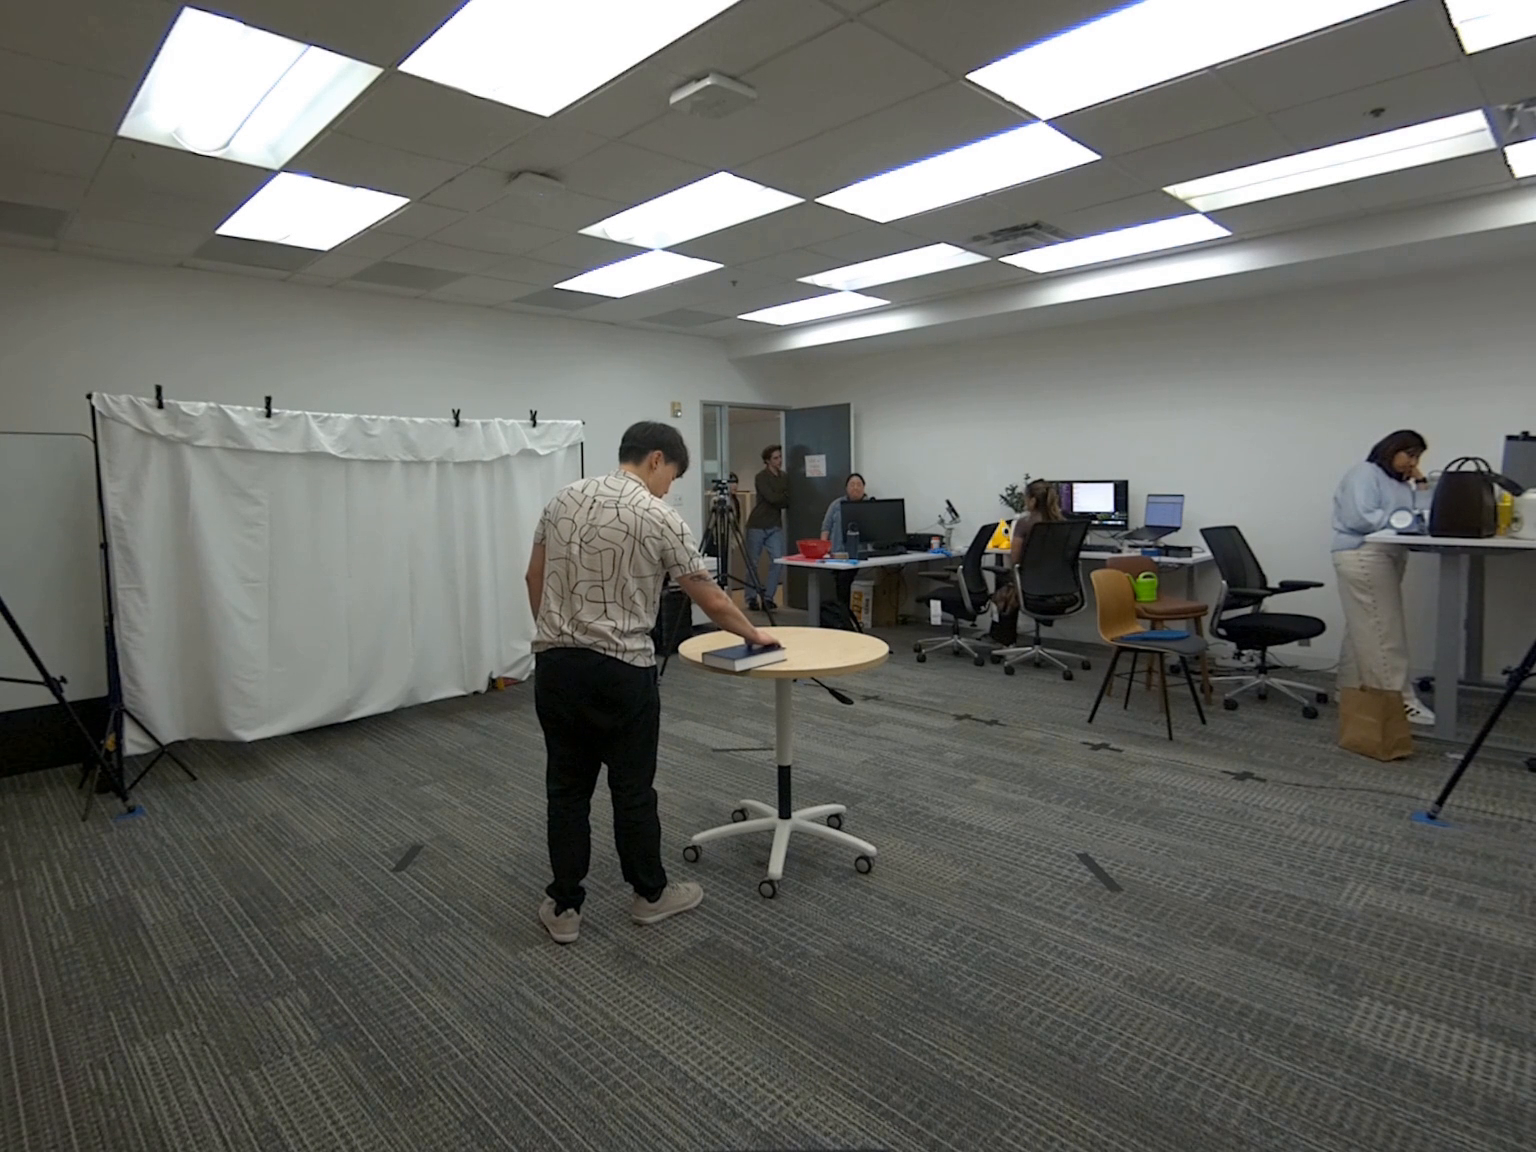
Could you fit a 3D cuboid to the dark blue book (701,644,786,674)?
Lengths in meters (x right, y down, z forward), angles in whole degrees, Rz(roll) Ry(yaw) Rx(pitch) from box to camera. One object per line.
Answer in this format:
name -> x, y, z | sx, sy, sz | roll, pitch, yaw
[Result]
dark blue book -> -0.072, 0.271, 2.867 | 0.168, 0.045, 0.239 | 6, 10, 43
